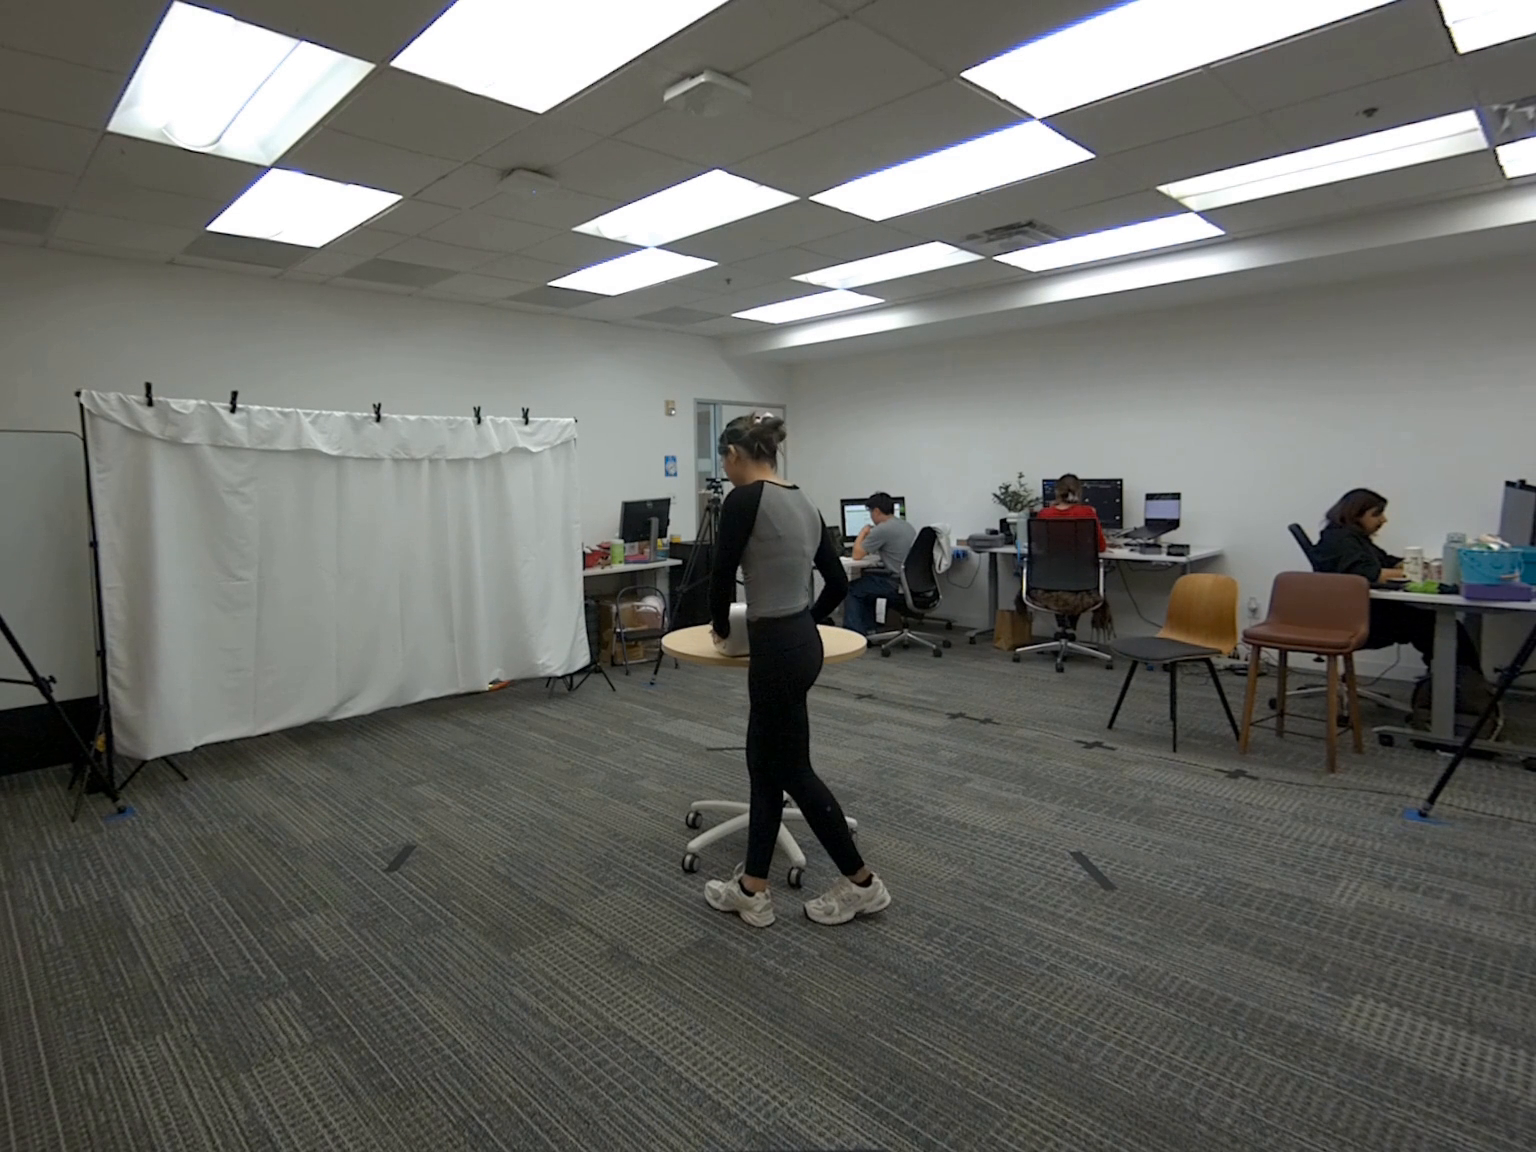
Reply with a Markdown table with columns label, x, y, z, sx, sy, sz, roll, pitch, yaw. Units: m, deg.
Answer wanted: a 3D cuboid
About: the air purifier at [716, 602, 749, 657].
| label | x | y | z | sx | sy | sz | roll | pitch | yaw |
| --- | --- | --- | --- | --- | --- | --- | --- | --- | --- |
| air purifier | -0.046 | 0.178 | 2.958 | 0.260 | 0.171 | 0.175 | -3 | 6 | -24 |
